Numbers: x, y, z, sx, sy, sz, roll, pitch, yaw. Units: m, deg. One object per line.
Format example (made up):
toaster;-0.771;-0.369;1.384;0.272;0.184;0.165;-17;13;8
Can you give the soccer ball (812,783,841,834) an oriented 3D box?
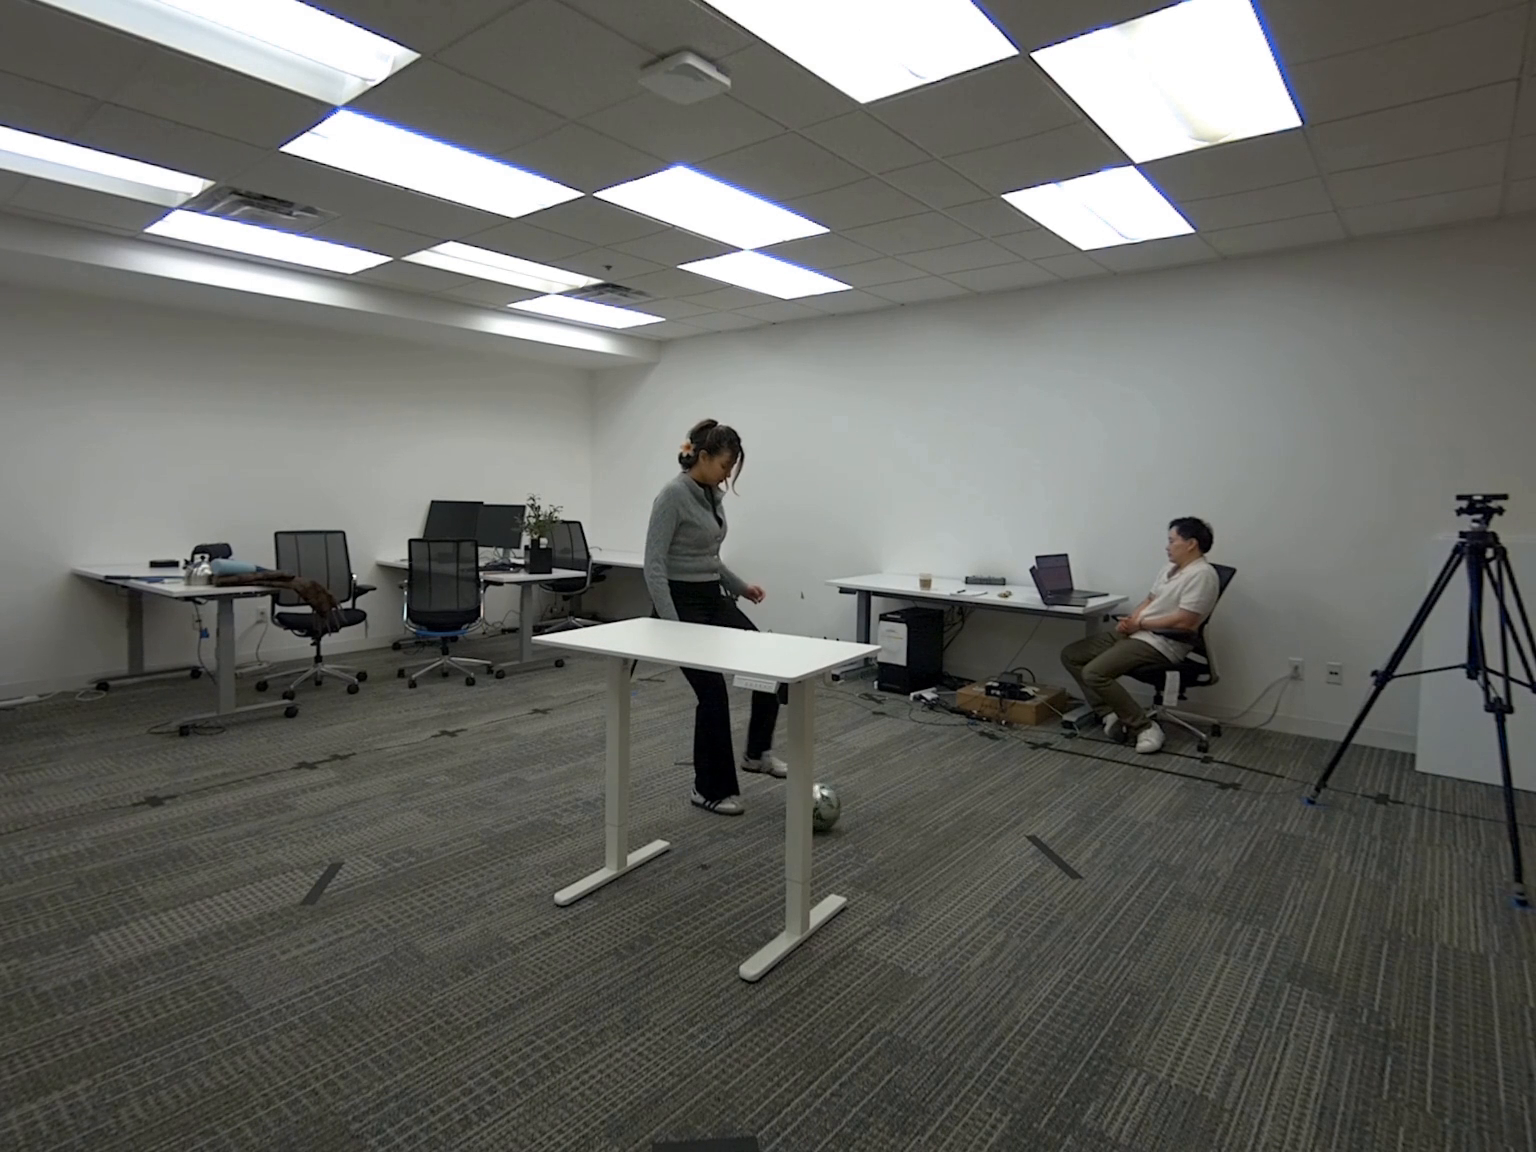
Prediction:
soccer ball;0.199;0.941;3.476;0.187;0.187;0.188;0;4;-2
